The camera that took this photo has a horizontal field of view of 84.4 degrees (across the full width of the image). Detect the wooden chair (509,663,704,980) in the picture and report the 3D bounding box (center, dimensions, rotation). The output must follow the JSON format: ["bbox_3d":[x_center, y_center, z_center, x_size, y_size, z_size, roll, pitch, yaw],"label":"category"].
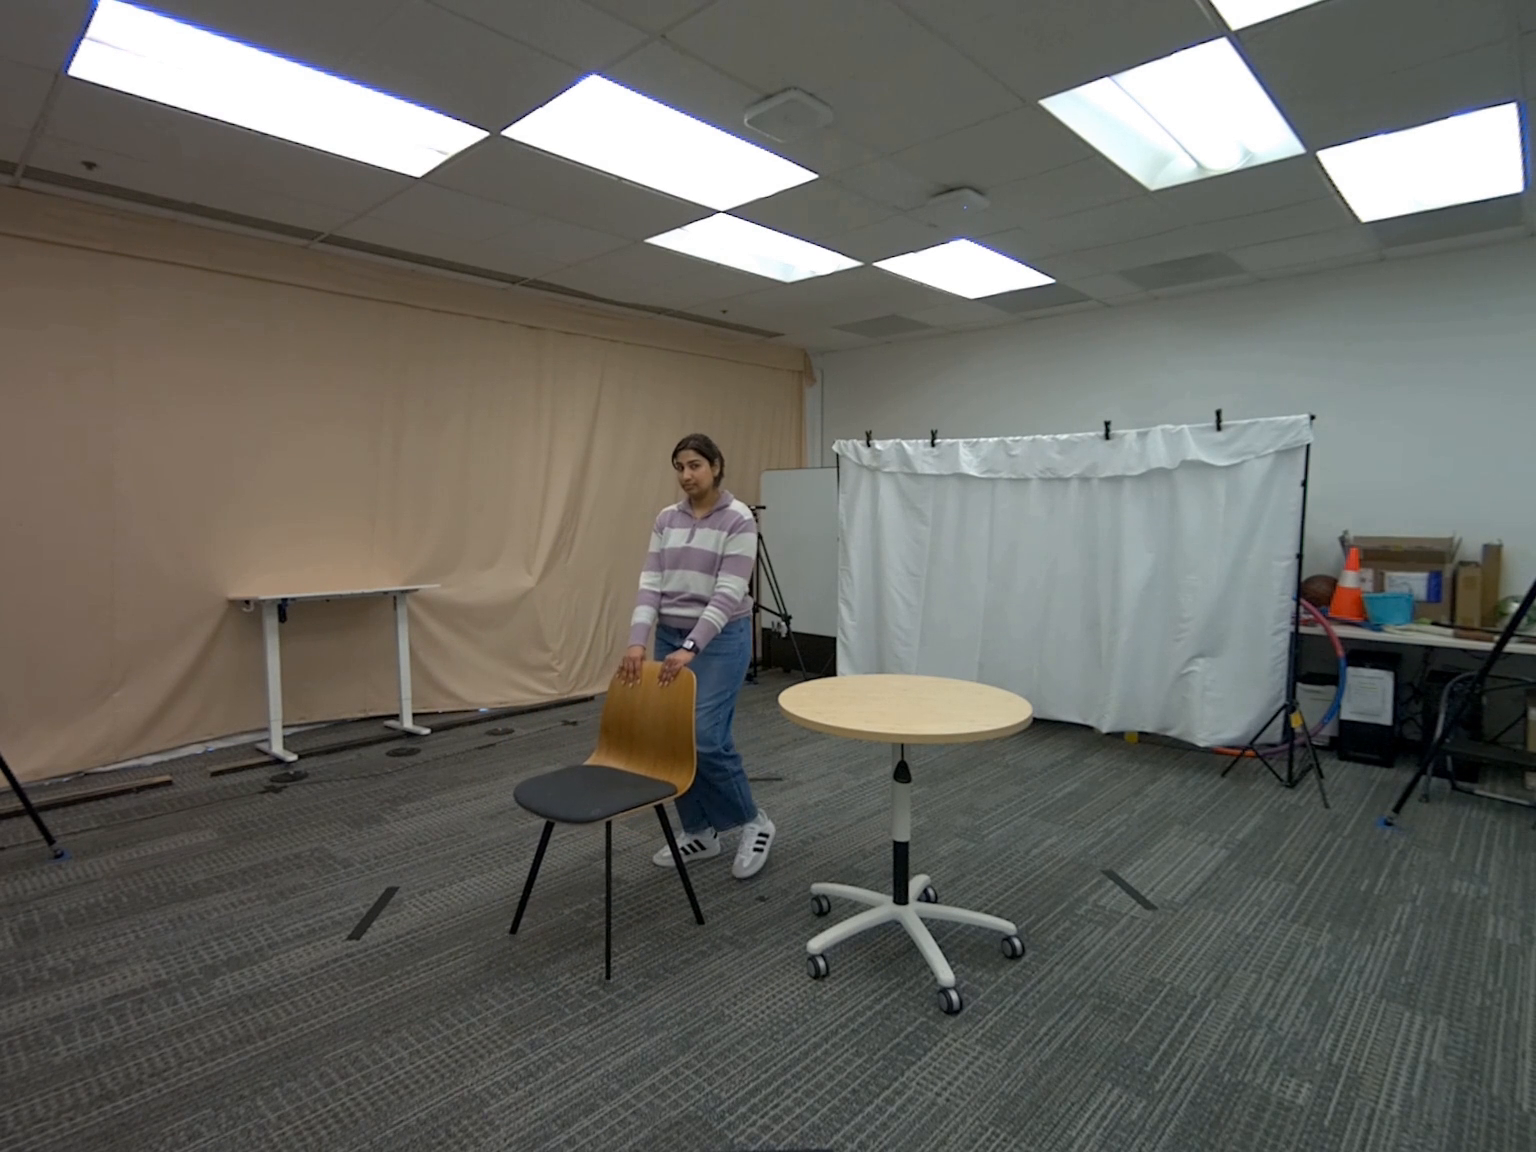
[{"bbox_3d":[-0.520,0.731,2.741,0.493,0.878,0.506,2,-2,37],"label":"wooden chair"}]
